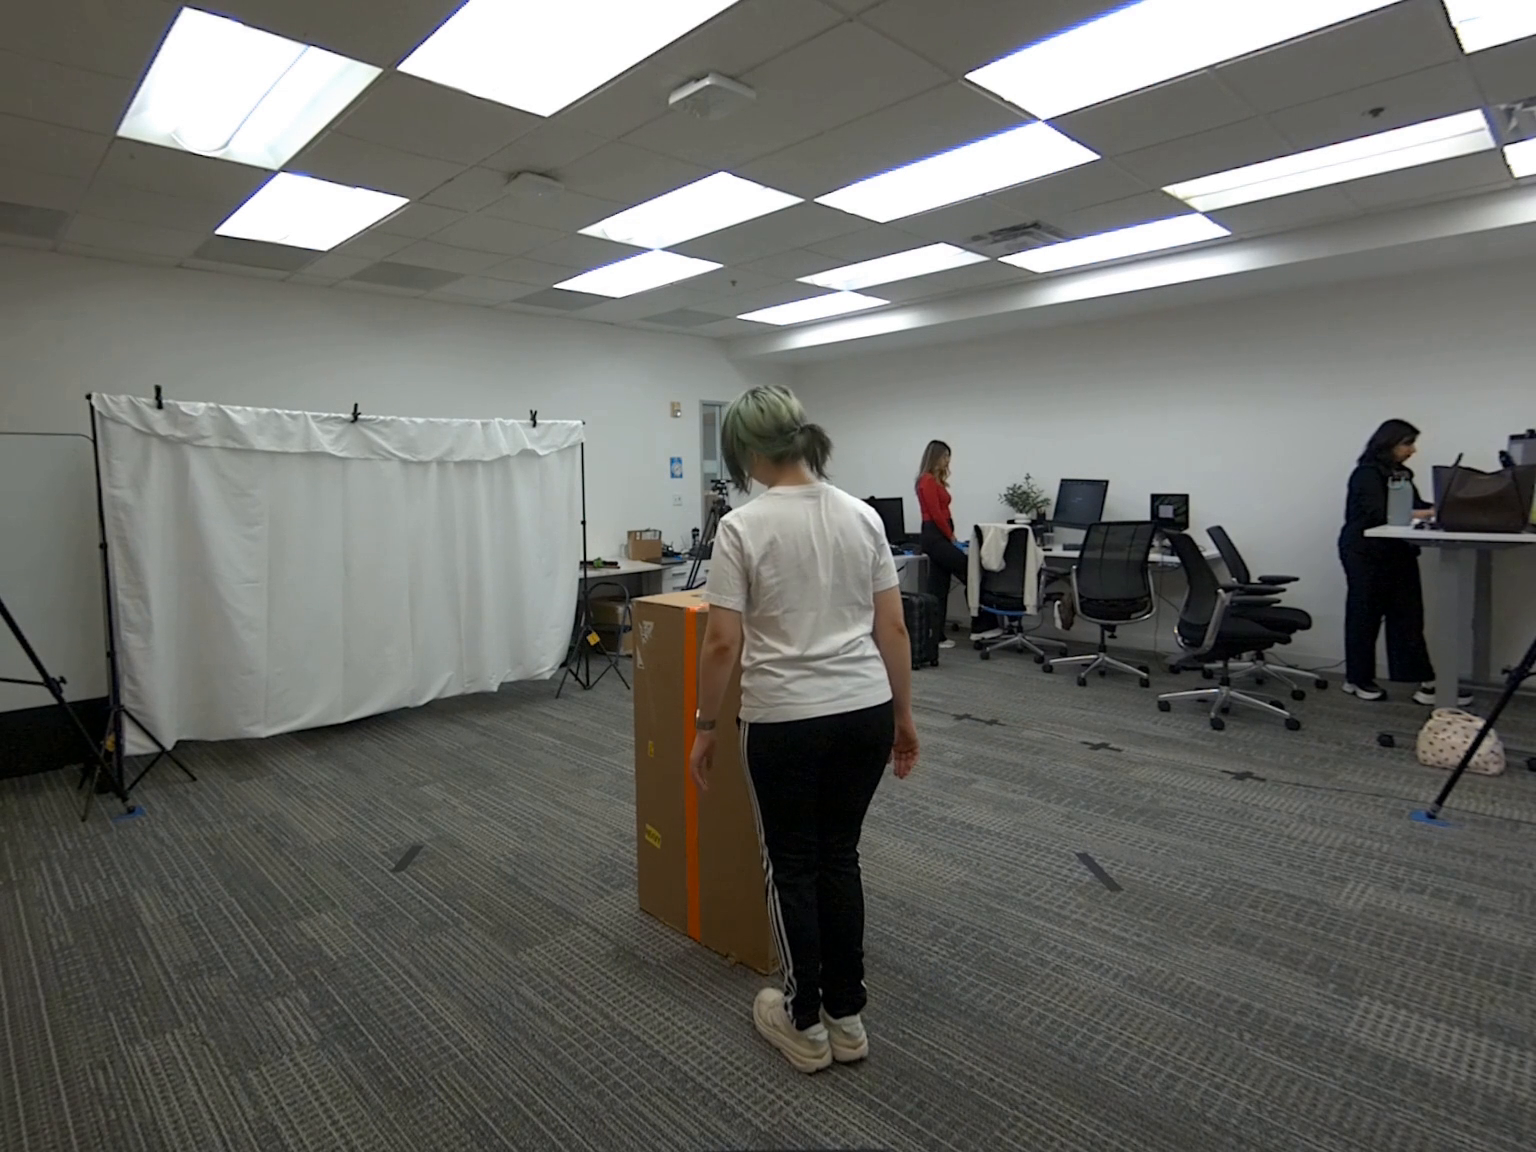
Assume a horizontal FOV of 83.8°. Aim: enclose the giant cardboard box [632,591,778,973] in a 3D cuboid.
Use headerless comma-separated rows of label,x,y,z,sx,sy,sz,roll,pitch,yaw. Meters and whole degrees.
giant cardboard box,-0.083,0.586,2.714,0.602,1.024,0.435,3,5,42
